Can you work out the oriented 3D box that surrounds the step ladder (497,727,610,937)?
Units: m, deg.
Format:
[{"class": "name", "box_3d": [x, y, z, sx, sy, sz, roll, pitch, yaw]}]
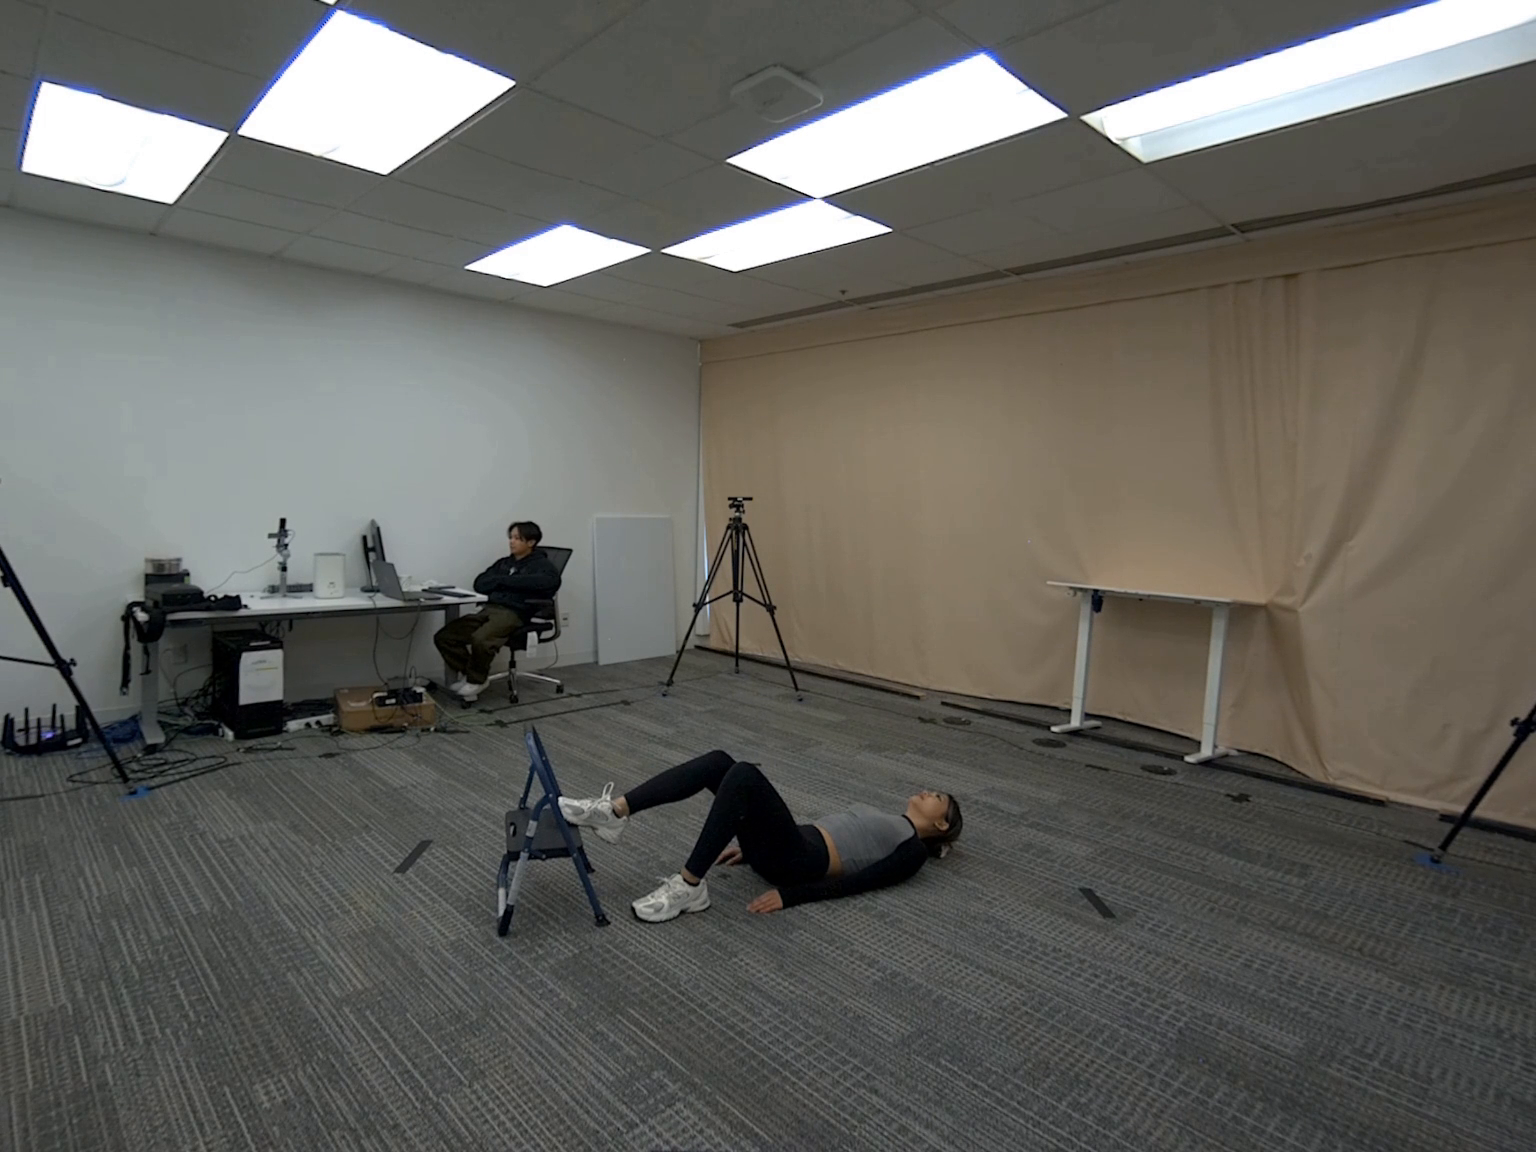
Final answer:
[{"class": "step ladder", "box_3d": [-0.744, 0.817, 2.860, 0.344, 0.605, 0.438, 1, 4, -19]}]
